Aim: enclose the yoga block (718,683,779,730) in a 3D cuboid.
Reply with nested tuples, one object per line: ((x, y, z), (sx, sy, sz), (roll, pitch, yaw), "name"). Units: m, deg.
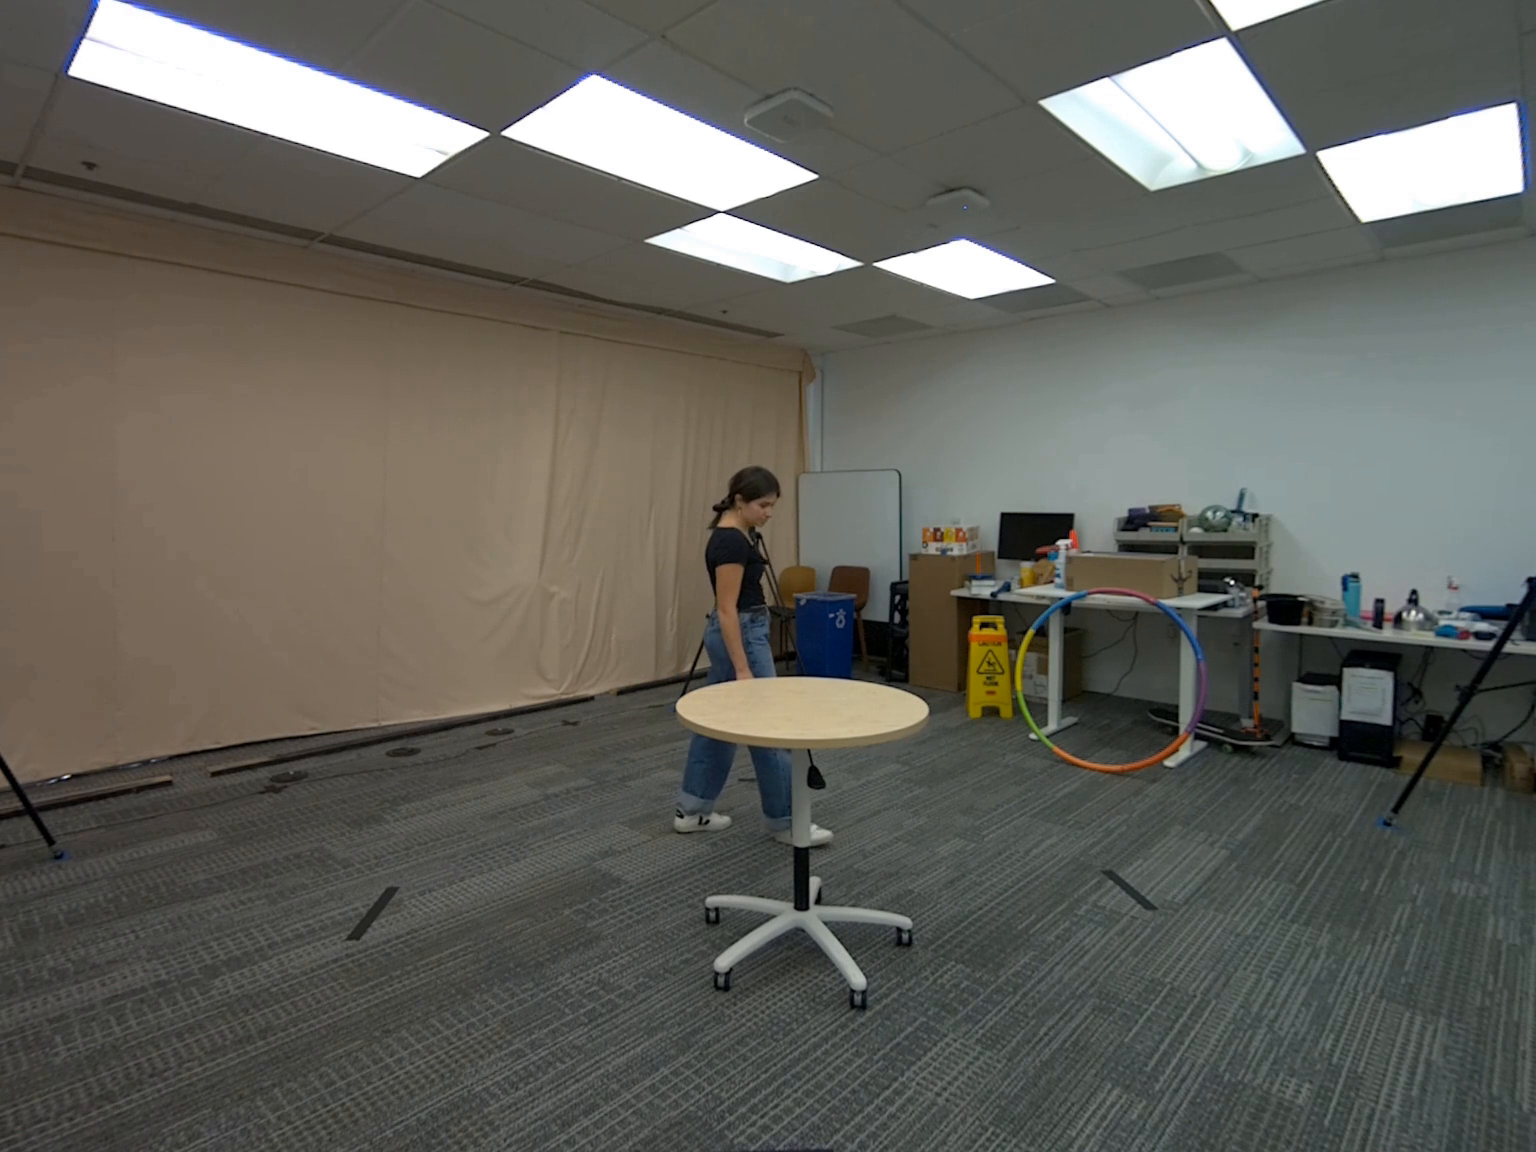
((-0.079, 0.512, 3.340), (0.230, 0.147, 0.077), (3, 21, 2), "yoga block")
